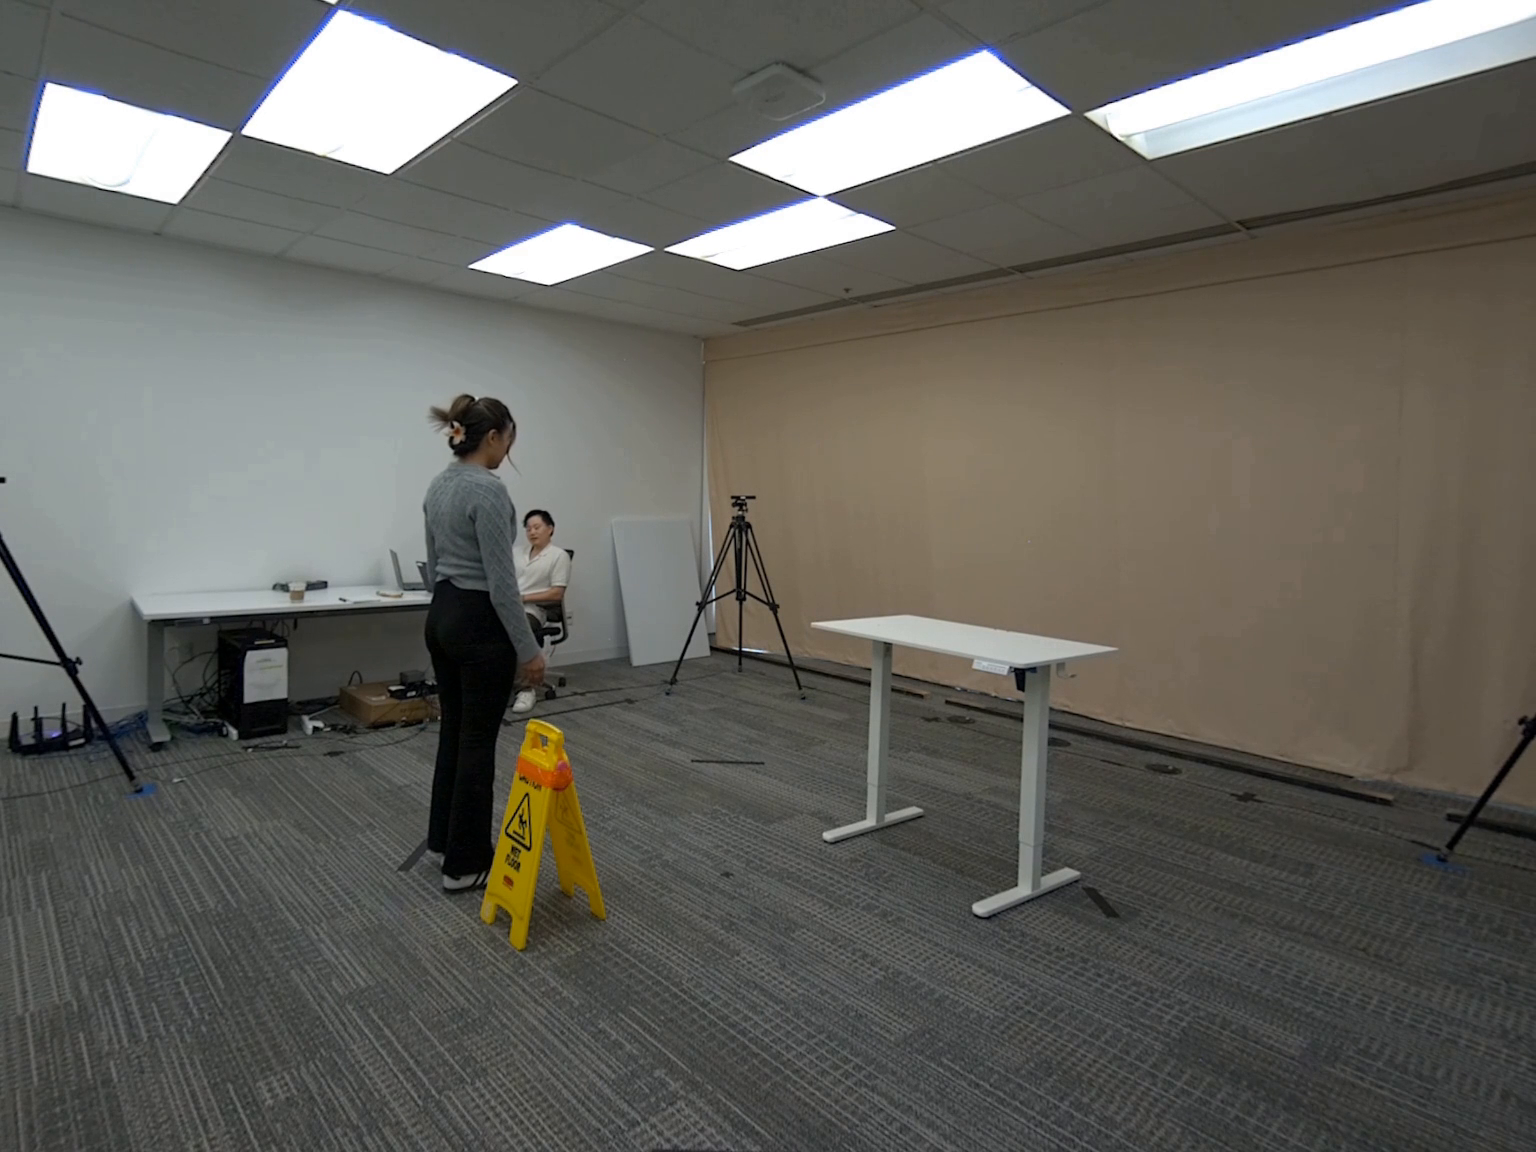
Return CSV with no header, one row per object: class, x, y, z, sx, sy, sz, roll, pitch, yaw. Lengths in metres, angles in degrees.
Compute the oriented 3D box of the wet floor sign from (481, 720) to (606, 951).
wet floor sign,-0.734,0.806,2.738,0.283,0.644,0.289,-2,4,-43
